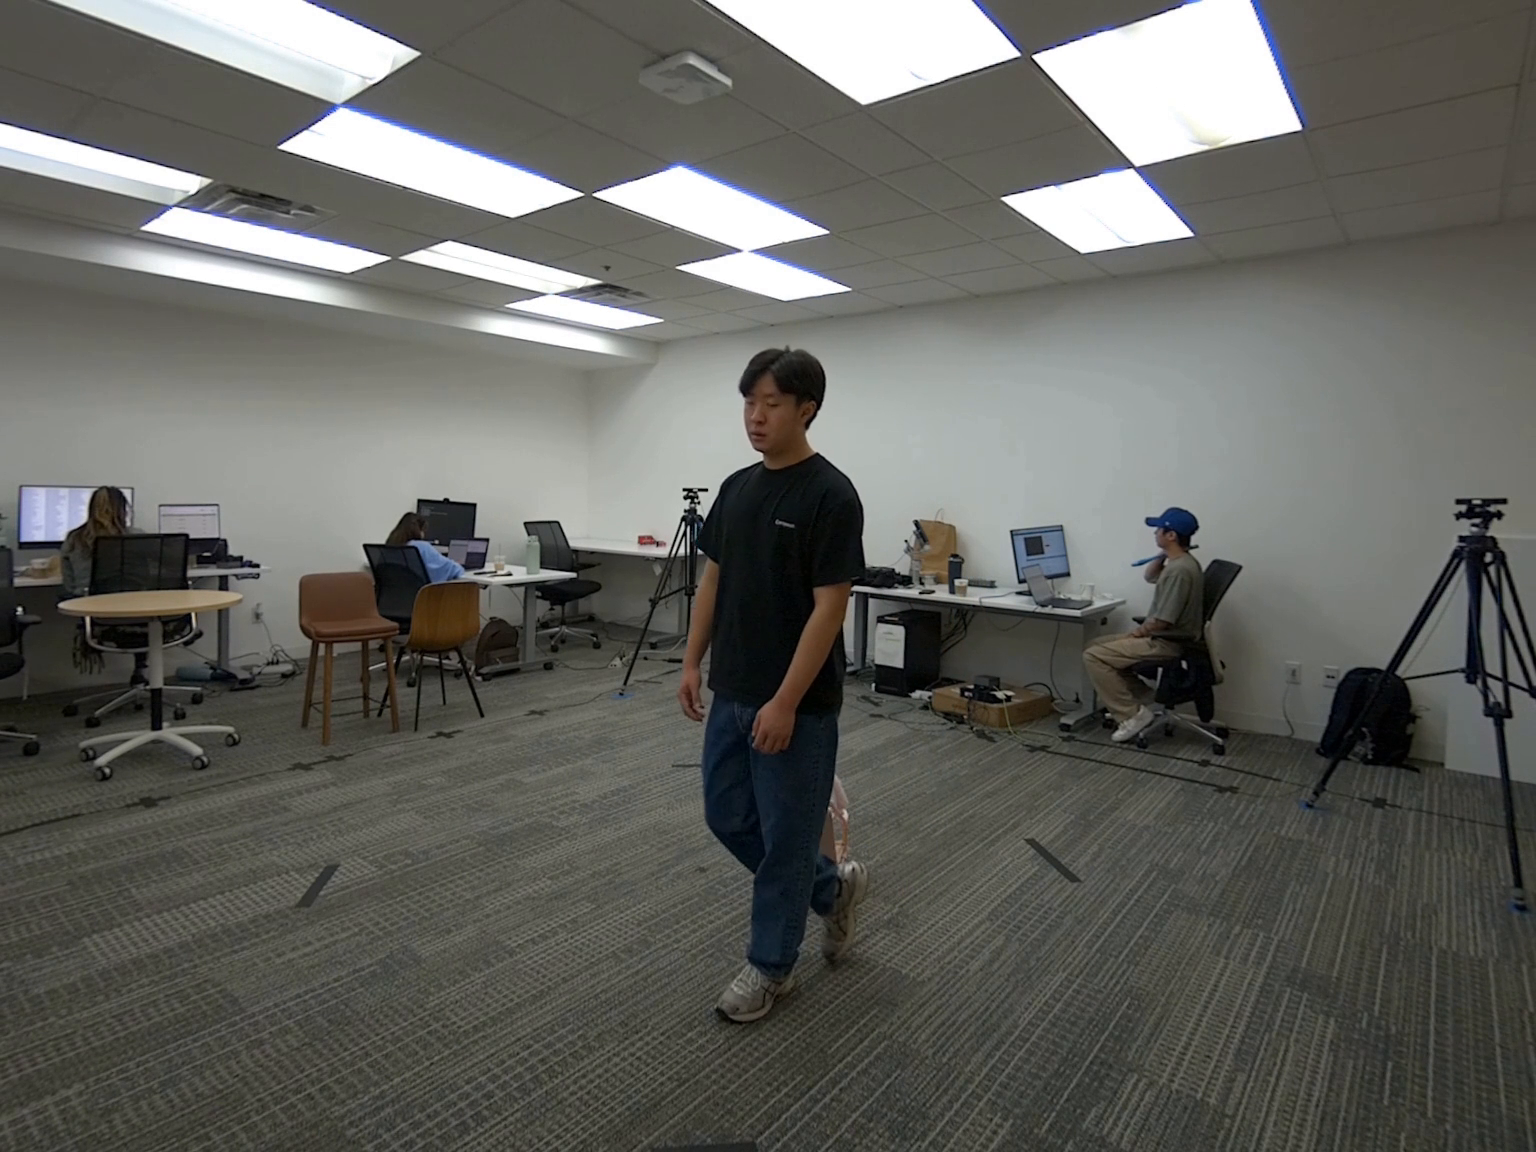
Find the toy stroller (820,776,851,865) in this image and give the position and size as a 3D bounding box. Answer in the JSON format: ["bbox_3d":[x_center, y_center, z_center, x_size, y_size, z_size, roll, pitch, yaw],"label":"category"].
[{"bbox_3d":[0.153,0.871,2.920,0.288,0.525,0.339,4,20,23],"label":"toy stroller"}]
